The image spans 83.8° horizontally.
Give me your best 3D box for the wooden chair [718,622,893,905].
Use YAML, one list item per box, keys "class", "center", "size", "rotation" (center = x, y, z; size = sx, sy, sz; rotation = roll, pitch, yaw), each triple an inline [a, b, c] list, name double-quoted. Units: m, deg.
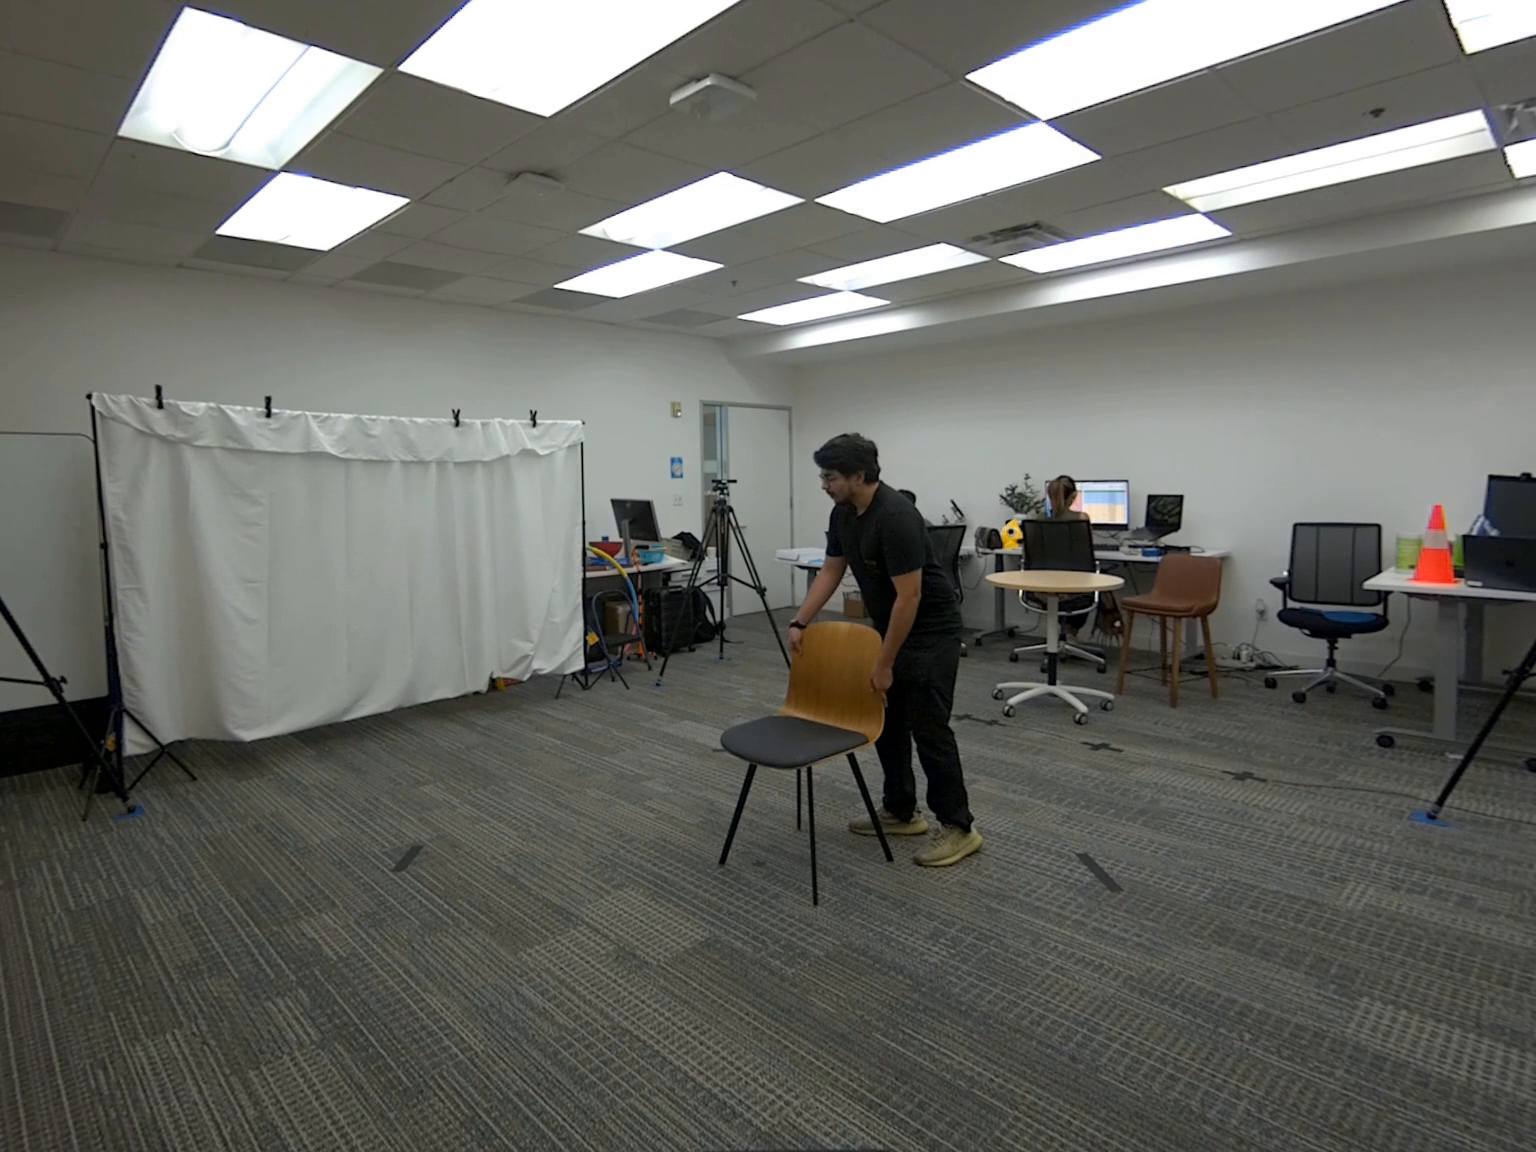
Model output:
- class: "wooden chair"
  center: [0.129, 0.618, 3.067]
  size: [0.493, 0.877, 0.508]
  rotation: [4, 2, 44]
